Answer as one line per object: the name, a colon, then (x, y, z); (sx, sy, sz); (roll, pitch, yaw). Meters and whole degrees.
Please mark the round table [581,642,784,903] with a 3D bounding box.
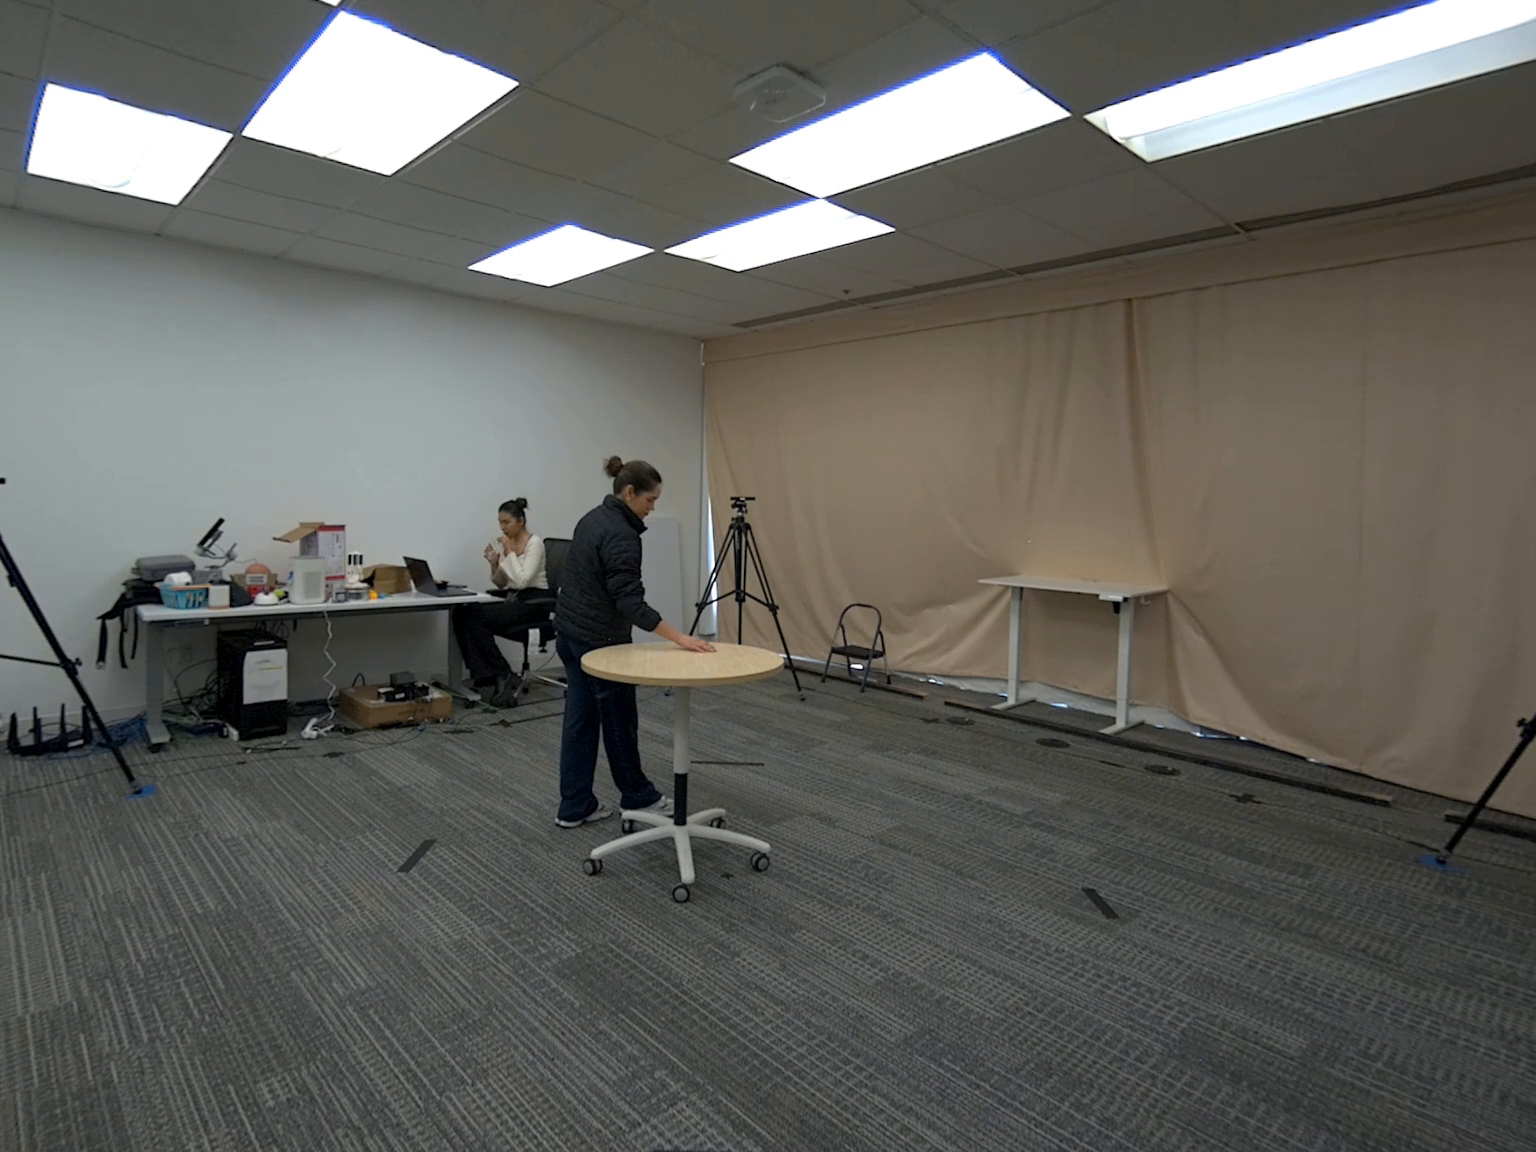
round table: (-0.326, 0.700, 3.210); (0.784, 0.785, 0.787); (1, 4, -1)
